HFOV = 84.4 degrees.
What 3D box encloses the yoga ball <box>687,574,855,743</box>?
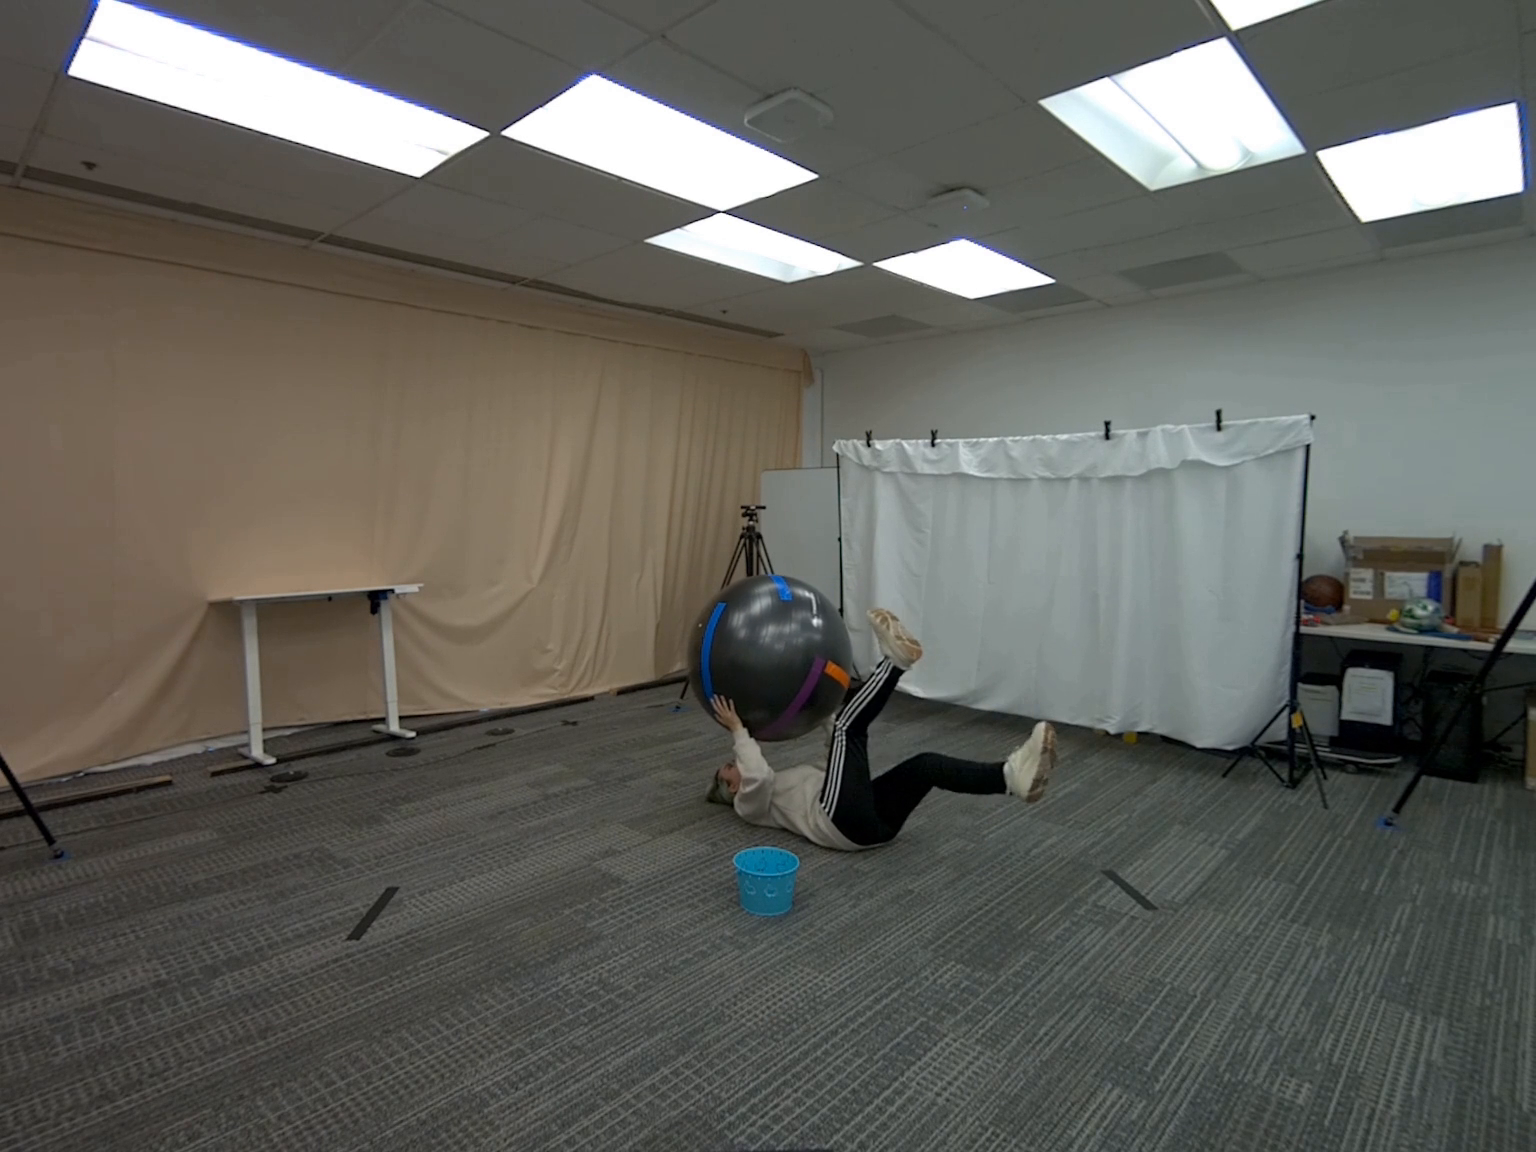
[{"bbox_3d":[0.004,0.371,3.854,0.757,0.756,0.760,0,4,-2],"label":"yoga ball"}]
